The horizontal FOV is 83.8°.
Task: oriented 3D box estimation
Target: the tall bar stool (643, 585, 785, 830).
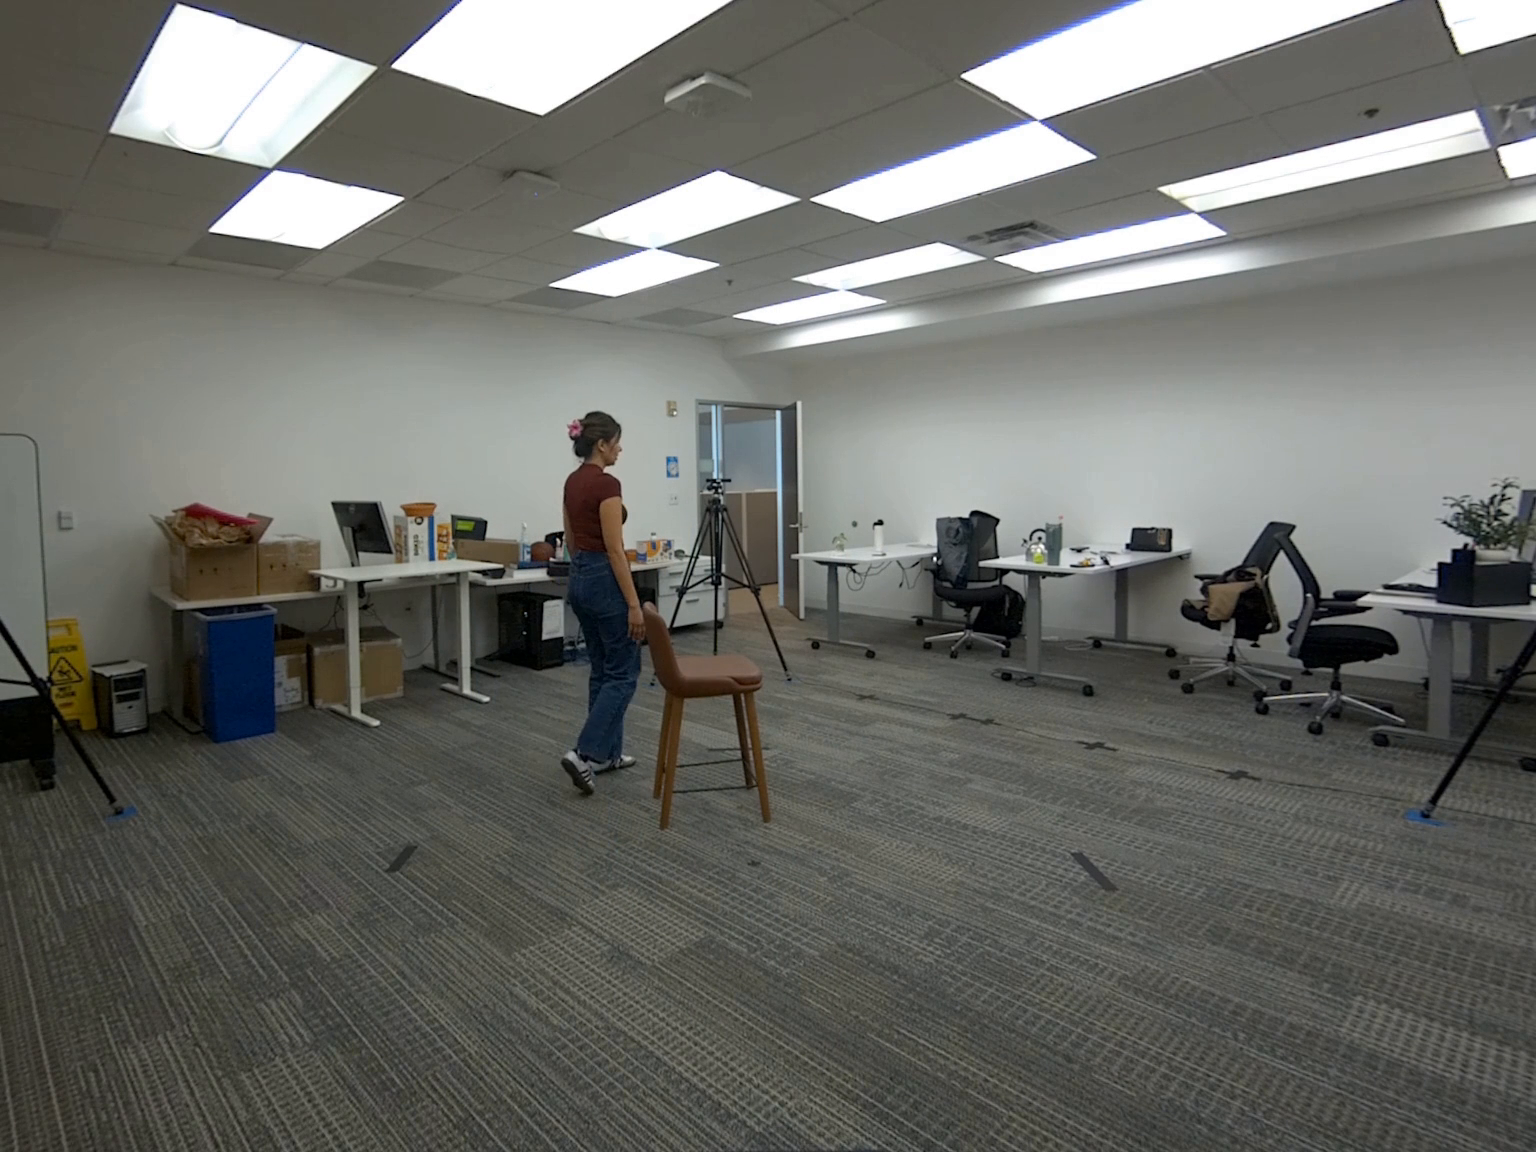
[{"bbox_3d":[-0.266,0.559,3.618,0.463,0.887,0.462,-3,4,-11],"label":"tall bar stool"}]
